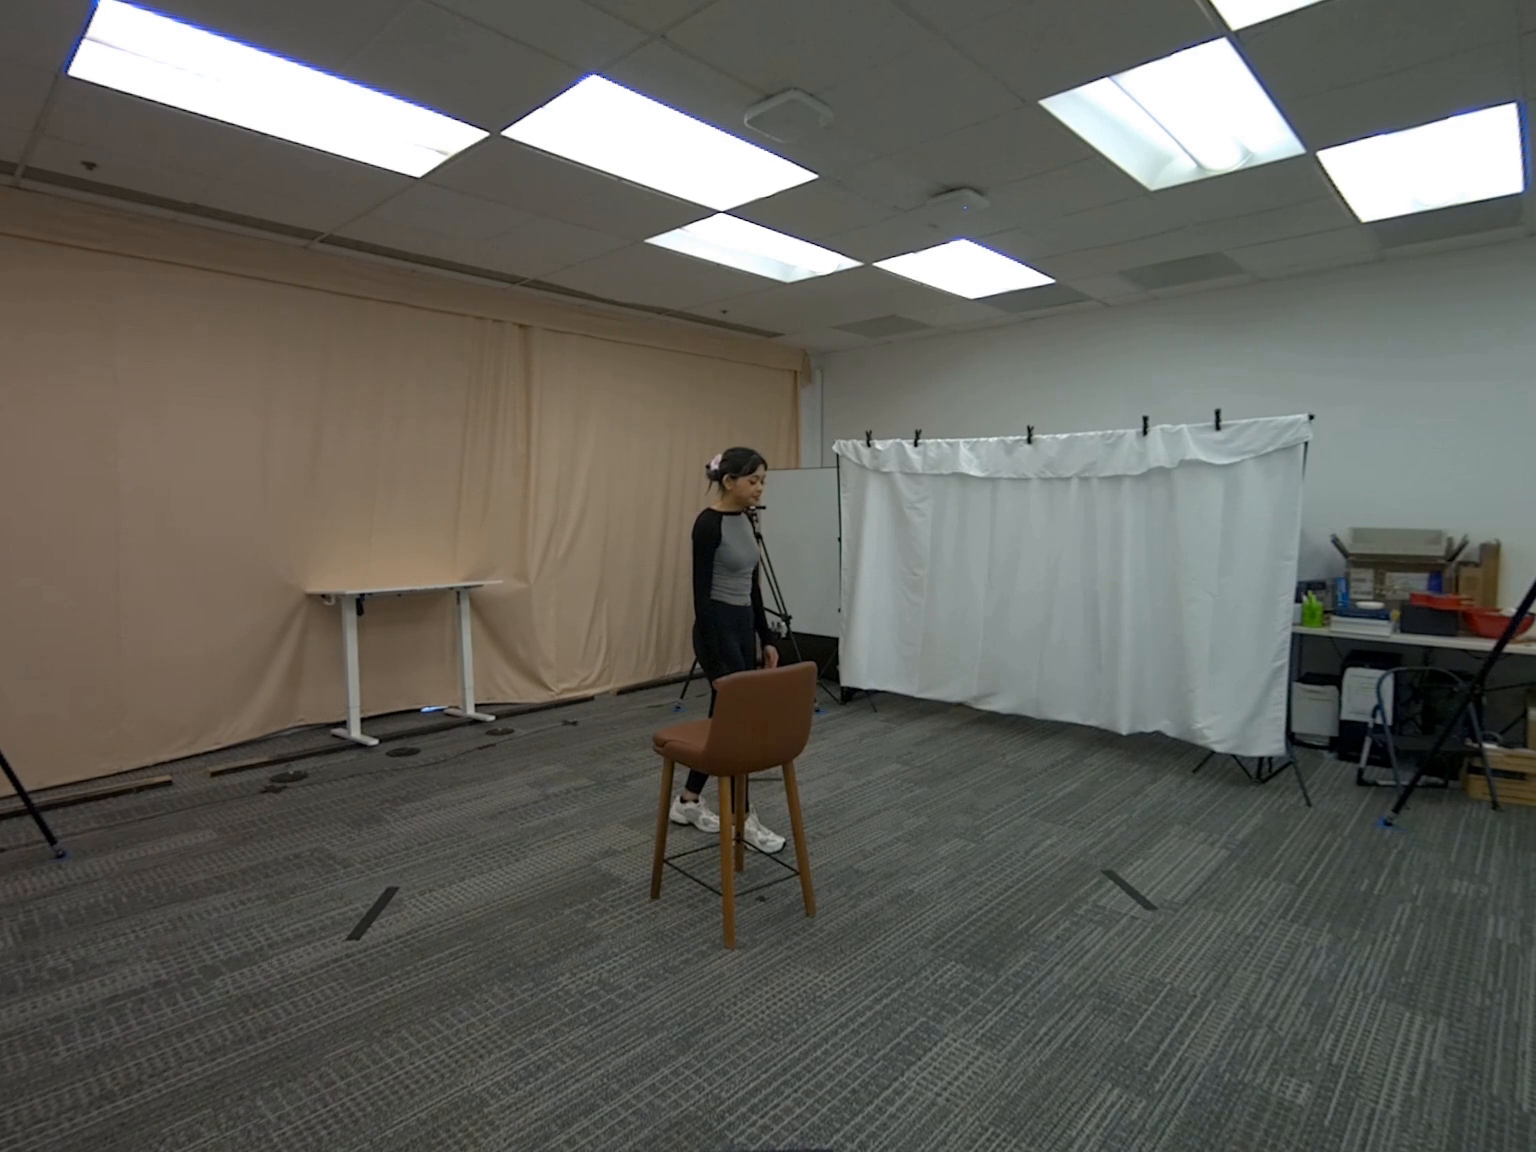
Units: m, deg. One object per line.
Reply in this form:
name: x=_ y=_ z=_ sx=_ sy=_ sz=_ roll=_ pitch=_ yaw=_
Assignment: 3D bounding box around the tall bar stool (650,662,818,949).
tall bar stool: x=-0.117 y=0.714 z=2.903 sx=0.443 sy=0.887 sz=0.483 roll=-3 pitch=6 yaw=-39
